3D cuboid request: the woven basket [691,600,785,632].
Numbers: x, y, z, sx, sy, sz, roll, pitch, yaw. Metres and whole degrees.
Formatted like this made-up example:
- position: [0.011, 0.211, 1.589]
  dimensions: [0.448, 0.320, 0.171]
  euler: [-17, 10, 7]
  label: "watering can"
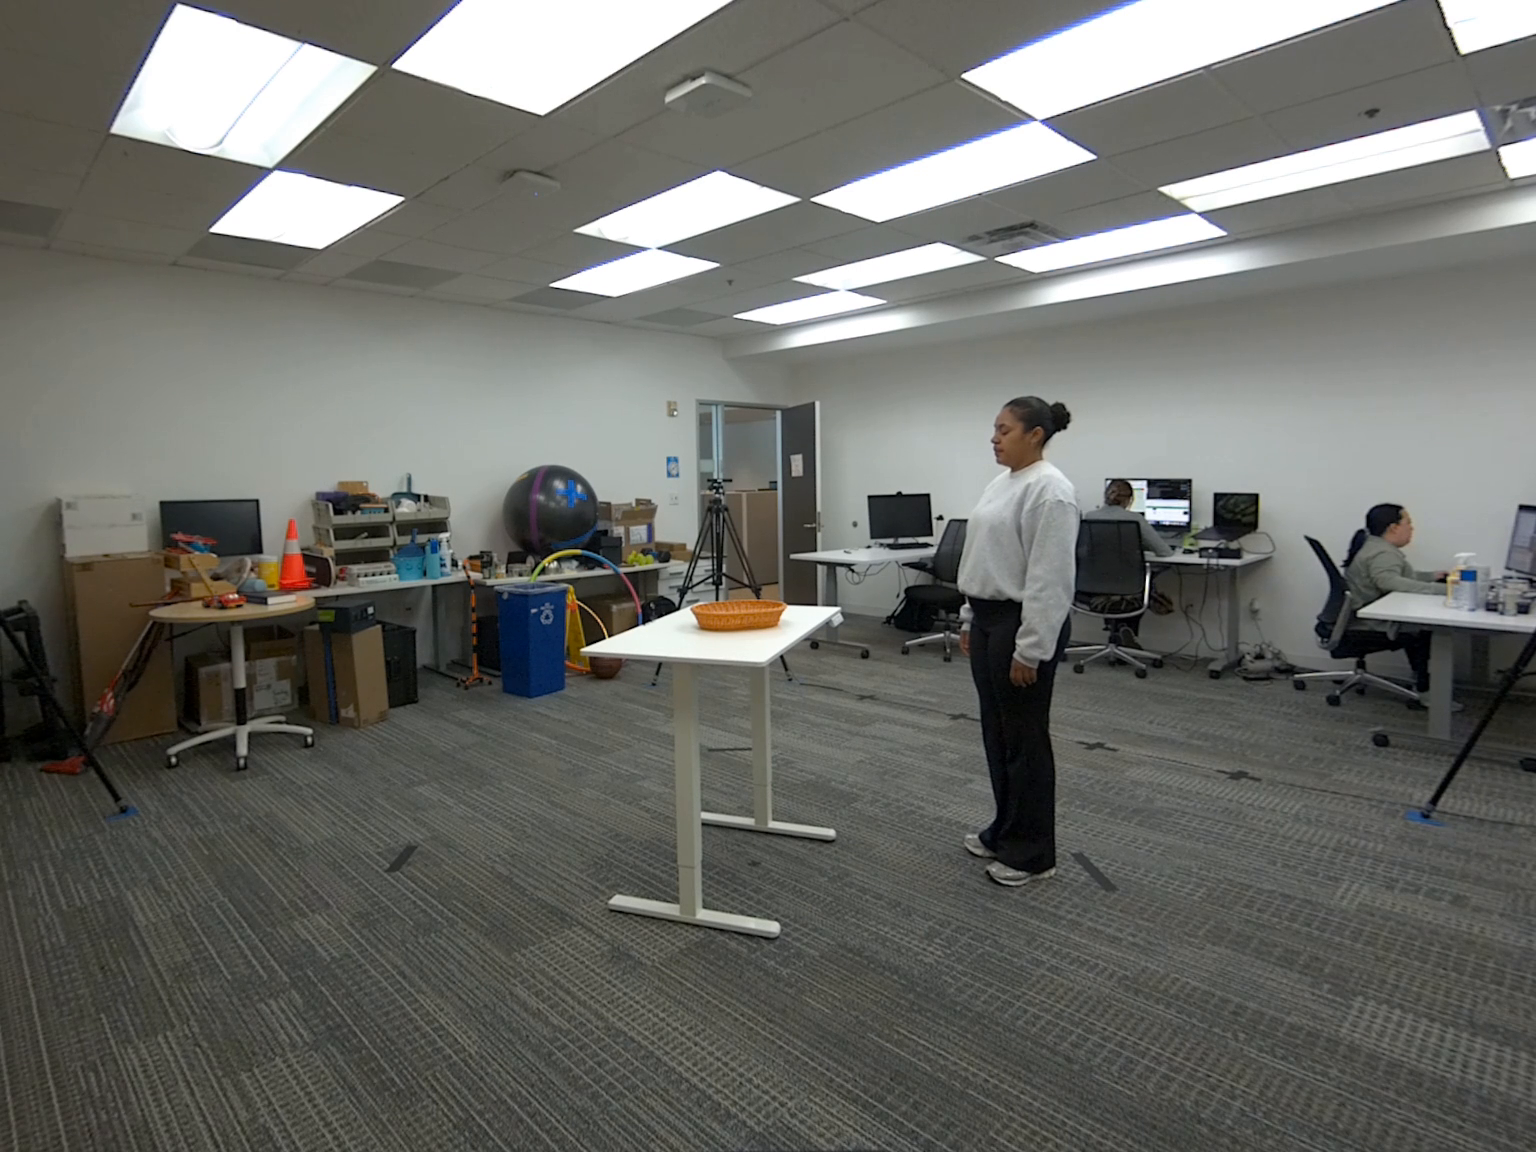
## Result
- position: [-0.088, 0.144, 3.000]
  dimensions: [0.345, 0.073, 0.257]
  euler: [-3, 6, -17]
  label: "woven basket"
